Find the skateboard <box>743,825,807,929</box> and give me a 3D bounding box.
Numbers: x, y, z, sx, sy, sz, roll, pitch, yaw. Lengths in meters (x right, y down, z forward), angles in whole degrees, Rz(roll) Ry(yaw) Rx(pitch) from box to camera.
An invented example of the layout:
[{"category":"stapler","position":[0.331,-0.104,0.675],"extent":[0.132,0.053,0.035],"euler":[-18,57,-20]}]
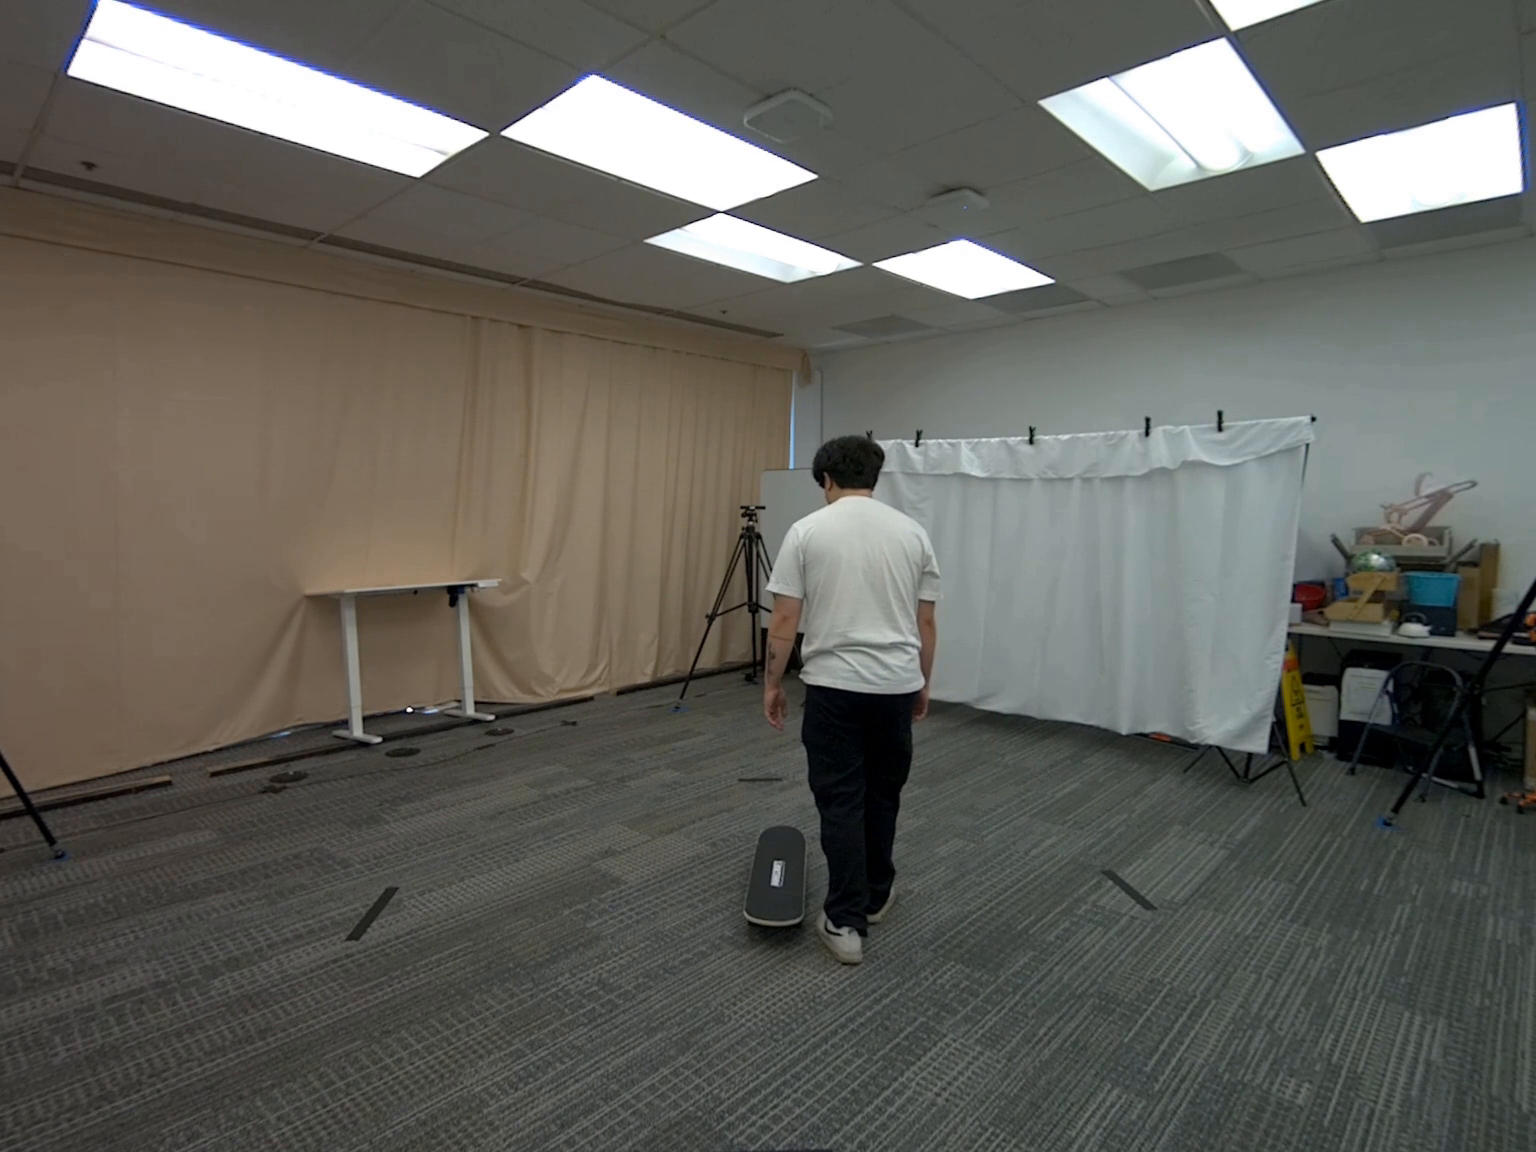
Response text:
[{"category":"skateboard","position":[0.039,1.086,2.989],"extent":[0.195,0.110,0.783],"euler":[0,5,4]}]
